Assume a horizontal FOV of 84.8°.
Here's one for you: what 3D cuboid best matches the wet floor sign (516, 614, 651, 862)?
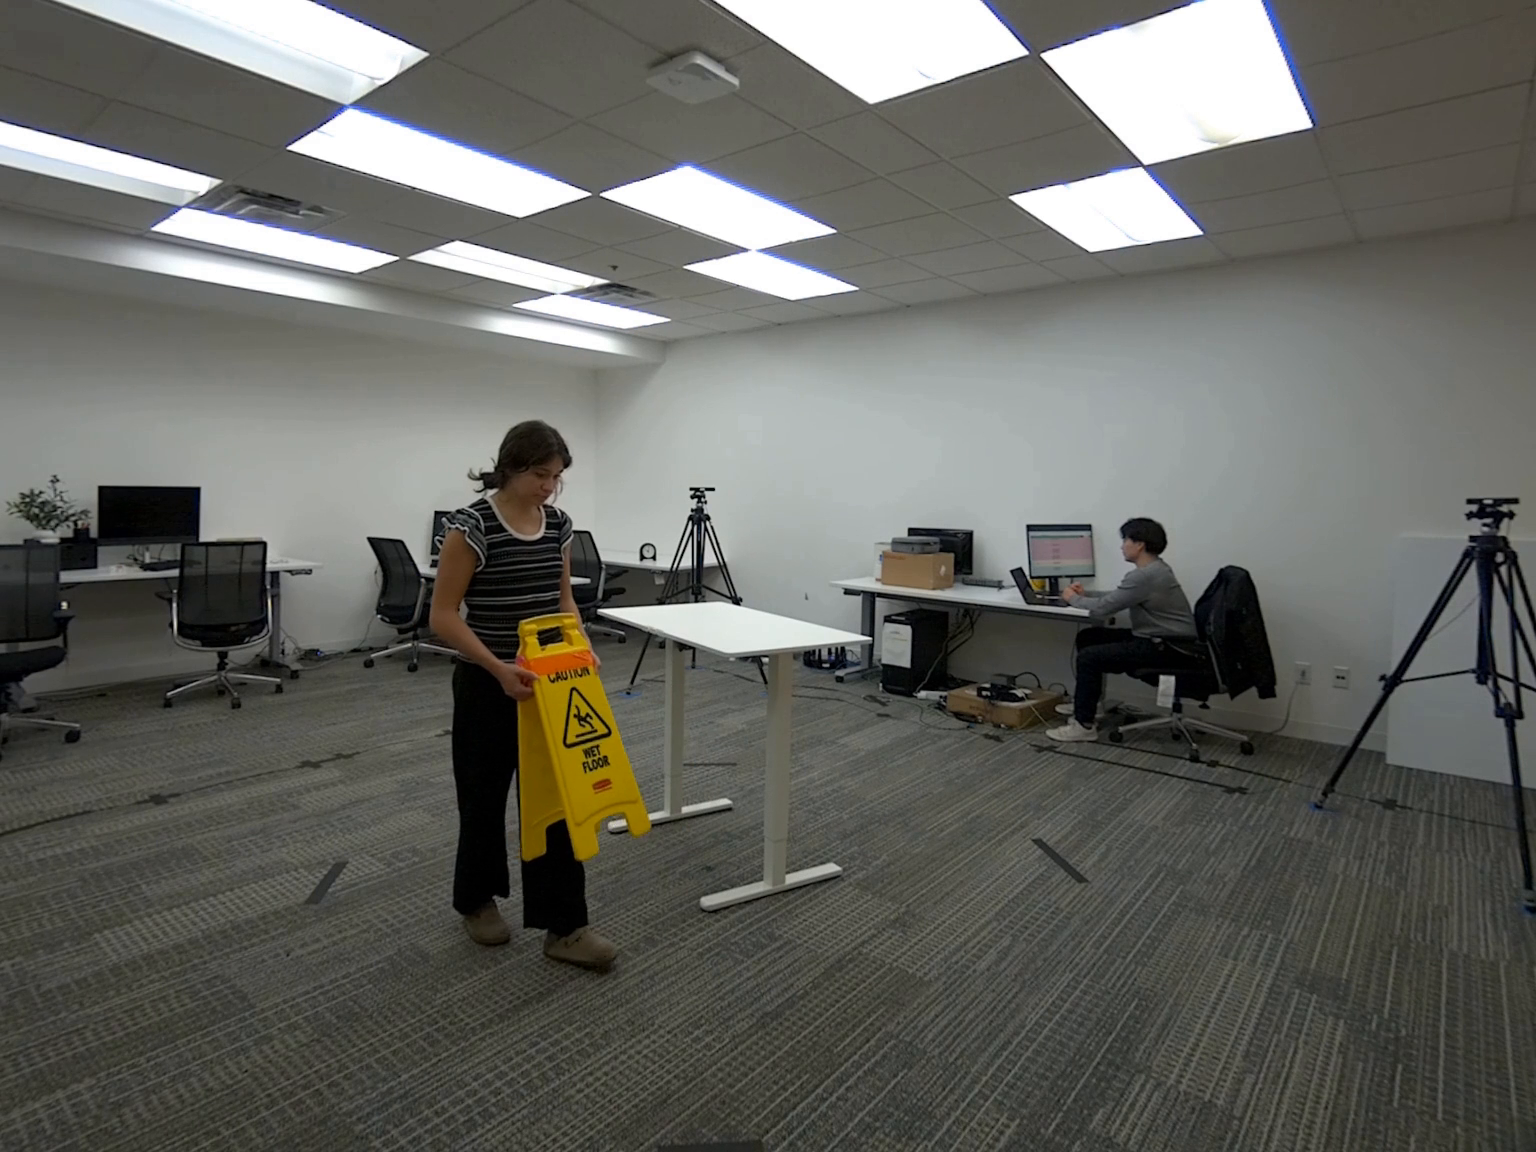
[{"bbox_3d":[-0.581,0.438,2.408,0.296,0.651,0.274,-14,-7,37],"label":"wet floor sign"}]
